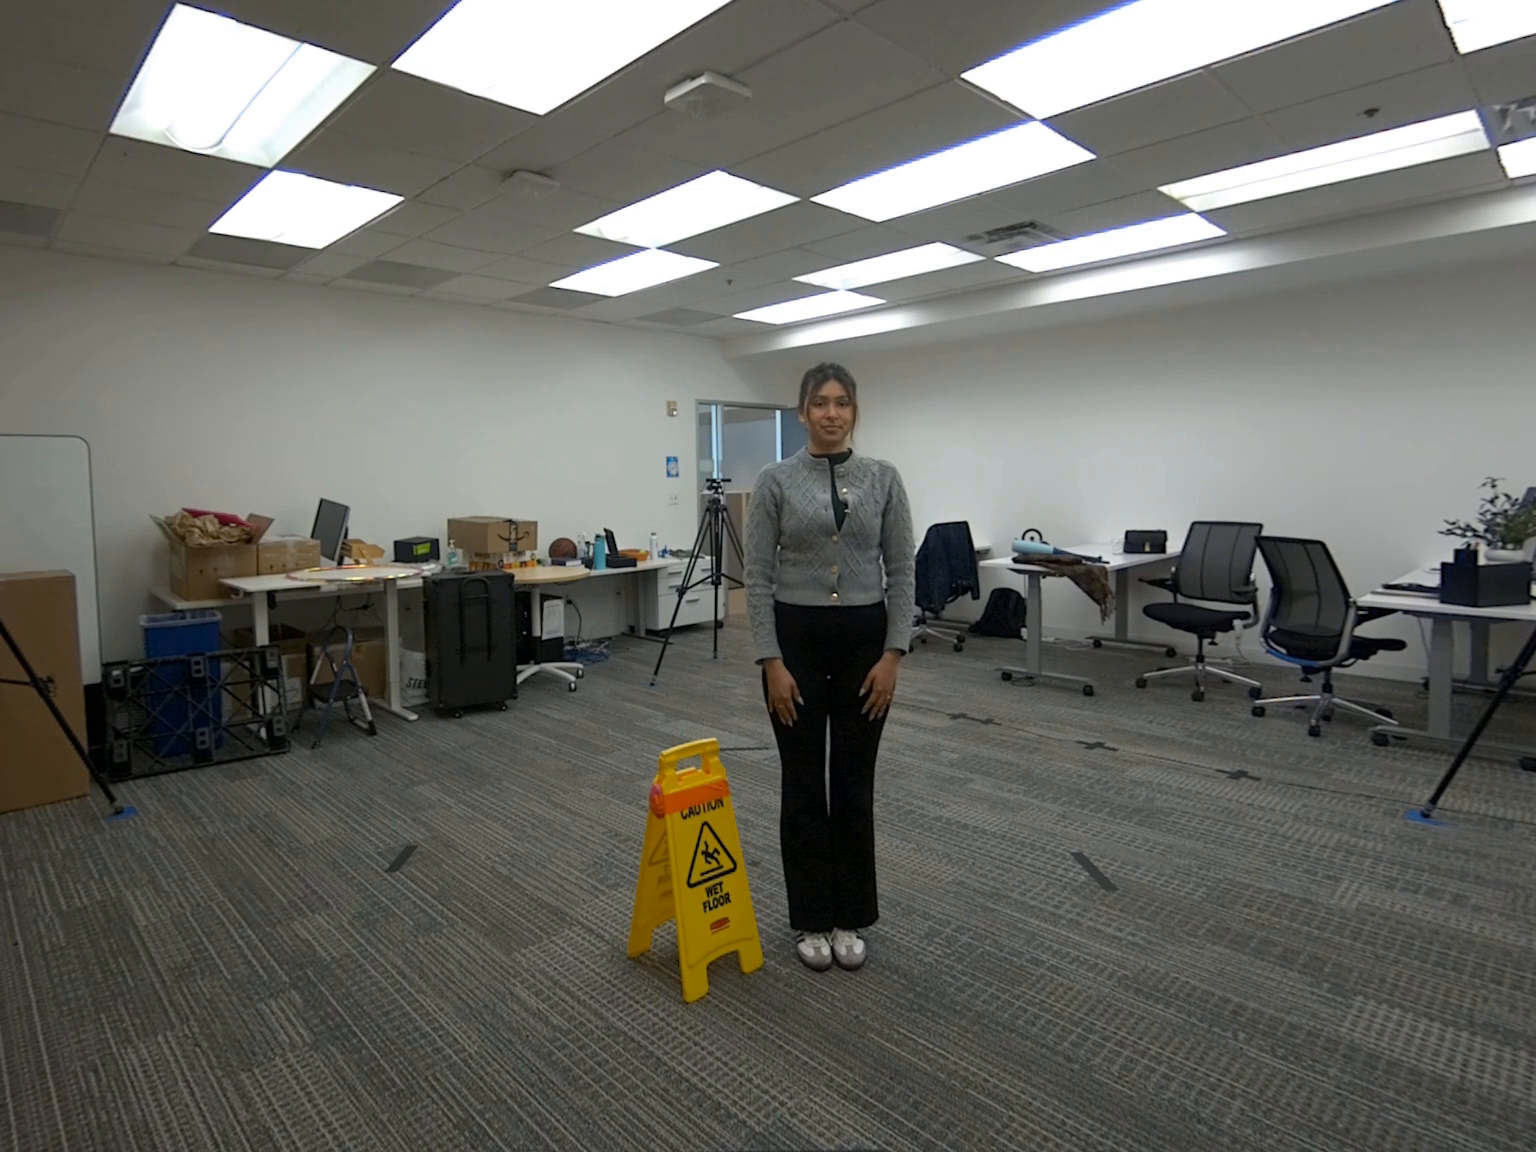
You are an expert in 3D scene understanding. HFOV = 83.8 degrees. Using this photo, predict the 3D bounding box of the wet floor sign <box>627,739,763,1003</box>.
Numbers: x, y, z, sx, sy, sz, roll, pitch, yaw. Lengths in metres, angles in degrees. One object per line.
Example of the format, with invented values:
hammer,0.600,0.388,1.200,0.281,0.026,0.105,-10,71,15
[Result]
wet floor sign,-0.219,0.800,2.461,0.275,0.644,0.298,-4,5,-40
